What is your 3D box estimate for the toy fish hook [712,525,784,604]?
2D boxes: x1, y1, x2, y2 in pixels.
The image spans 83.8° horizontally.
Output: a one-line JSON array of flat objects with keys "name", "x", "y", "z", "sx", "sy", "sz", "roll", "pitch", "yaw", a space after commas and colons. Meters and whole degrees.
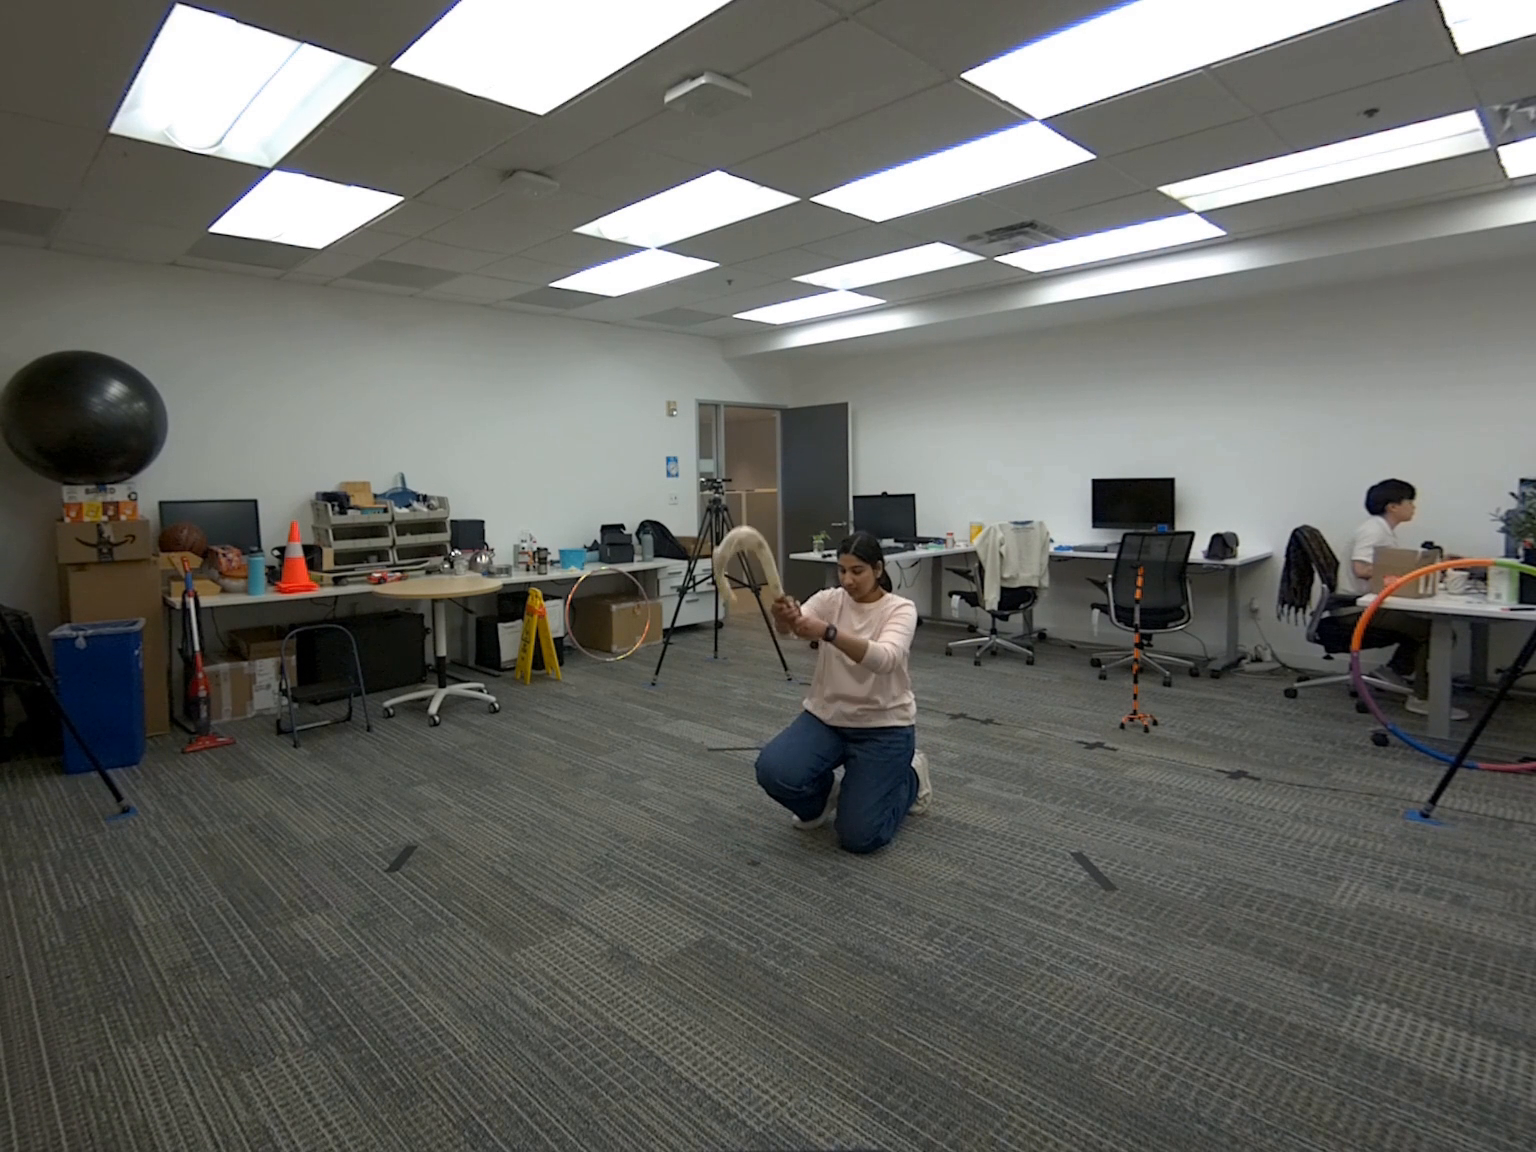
[{"name": "toy fish hook", "x": -0.004, "y": 0.061, "z": 2.785, "sx": 0.224, "sy": 0.490, "sz": 0.050, "roll": -45, "pitch": 32, "yaw": -17}]
